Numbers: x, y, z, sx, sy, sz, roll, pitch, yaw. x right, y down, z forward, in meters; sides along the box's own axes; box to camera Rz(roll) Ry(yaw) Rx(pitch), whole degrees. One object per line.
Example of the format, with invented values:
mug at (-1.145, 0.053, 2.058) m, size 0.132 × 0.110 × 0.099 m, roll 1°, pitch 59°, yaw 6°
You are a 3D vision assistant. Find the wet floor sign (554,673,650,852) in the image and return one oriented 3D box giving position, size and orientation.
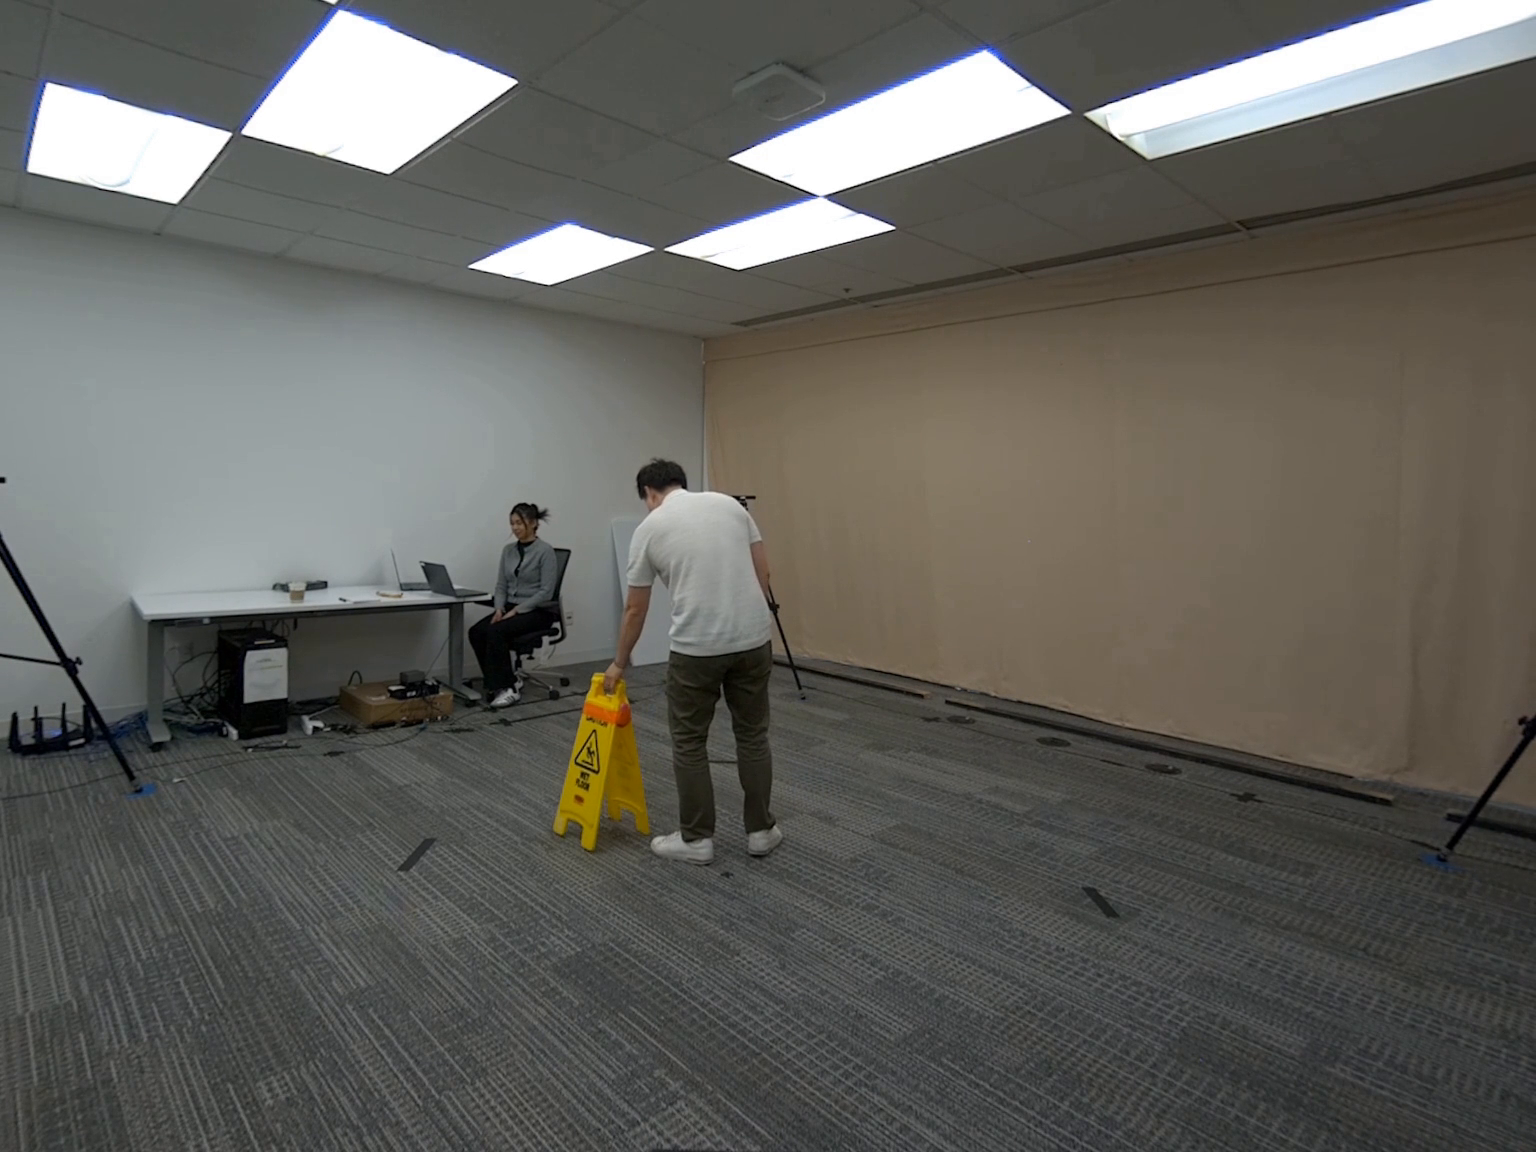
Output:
wet floor sign at (-0.669, 0.721, 3.452) m, size 0.283 × 0.645 × 0.289 m, roll 2°, pitch 2°, yaw -45°
